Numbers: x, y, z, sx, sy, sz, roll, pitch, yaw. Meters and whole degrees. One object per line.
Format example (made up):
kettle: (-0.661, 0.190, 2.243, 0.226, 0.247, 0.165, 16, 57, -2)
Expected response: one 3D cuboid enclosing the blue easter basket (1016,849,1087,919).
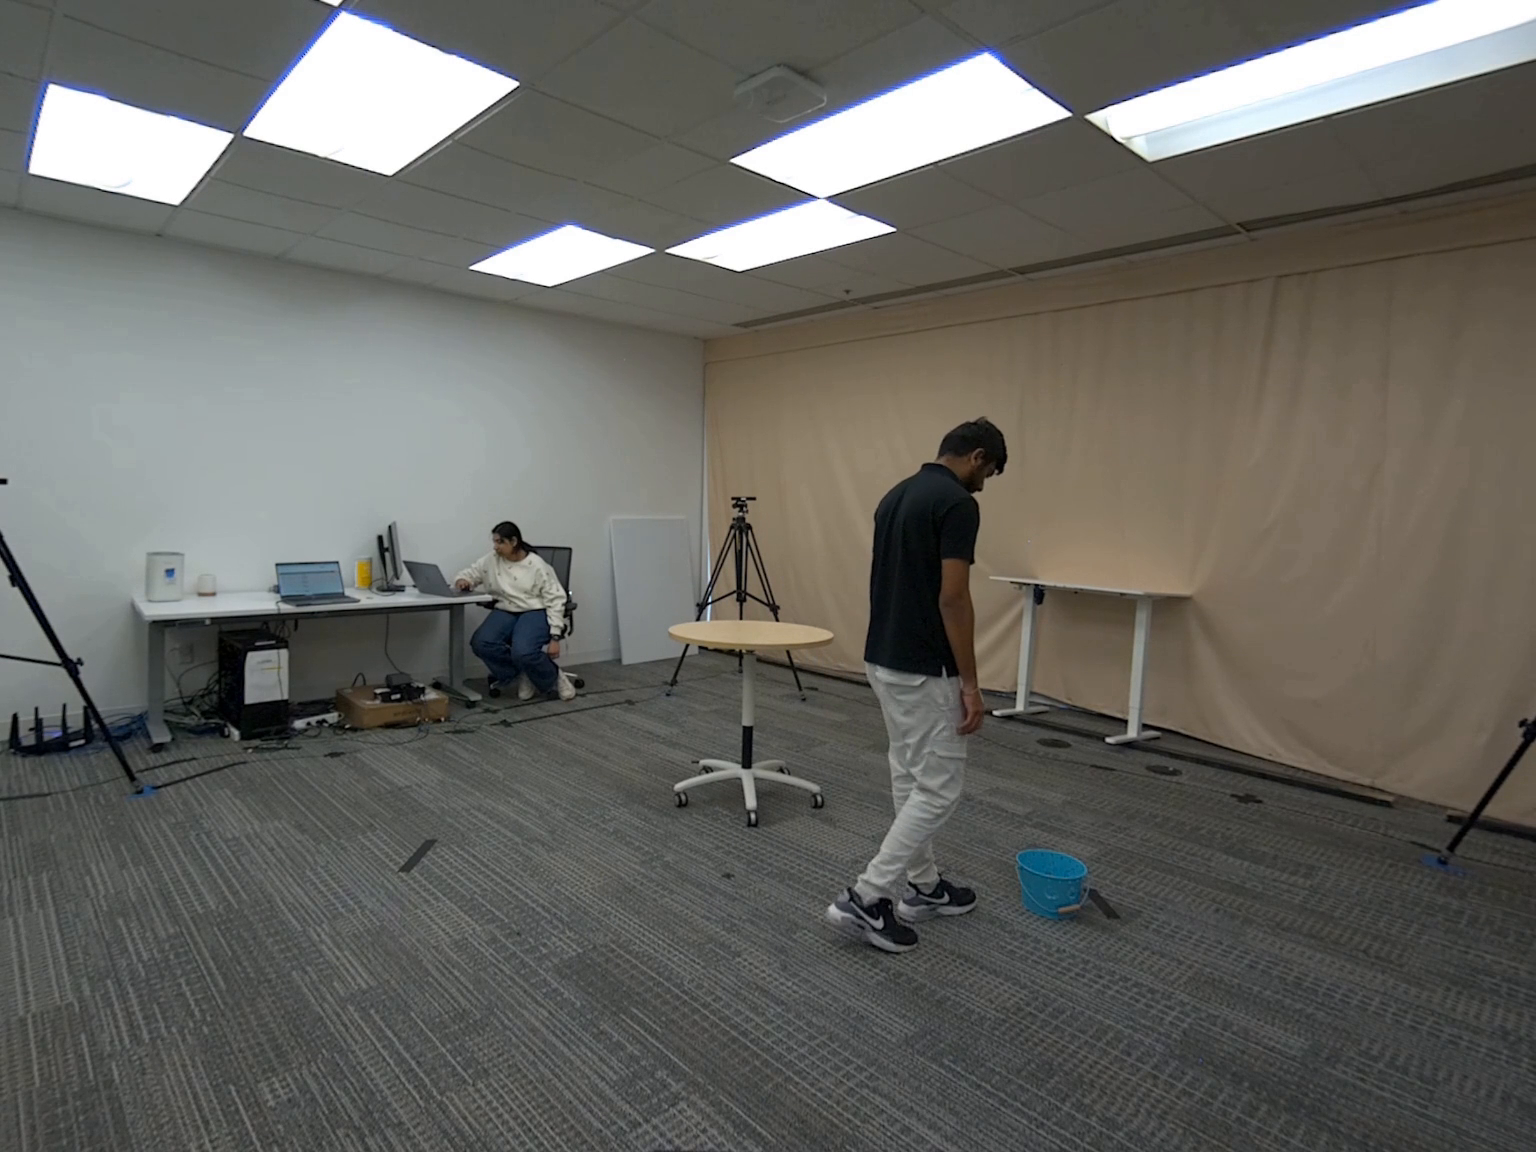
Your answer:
blue easter basket: (0.968, 1.071, 2.939, 0.243, 0.155, 0.244, 2, 4, -1)
